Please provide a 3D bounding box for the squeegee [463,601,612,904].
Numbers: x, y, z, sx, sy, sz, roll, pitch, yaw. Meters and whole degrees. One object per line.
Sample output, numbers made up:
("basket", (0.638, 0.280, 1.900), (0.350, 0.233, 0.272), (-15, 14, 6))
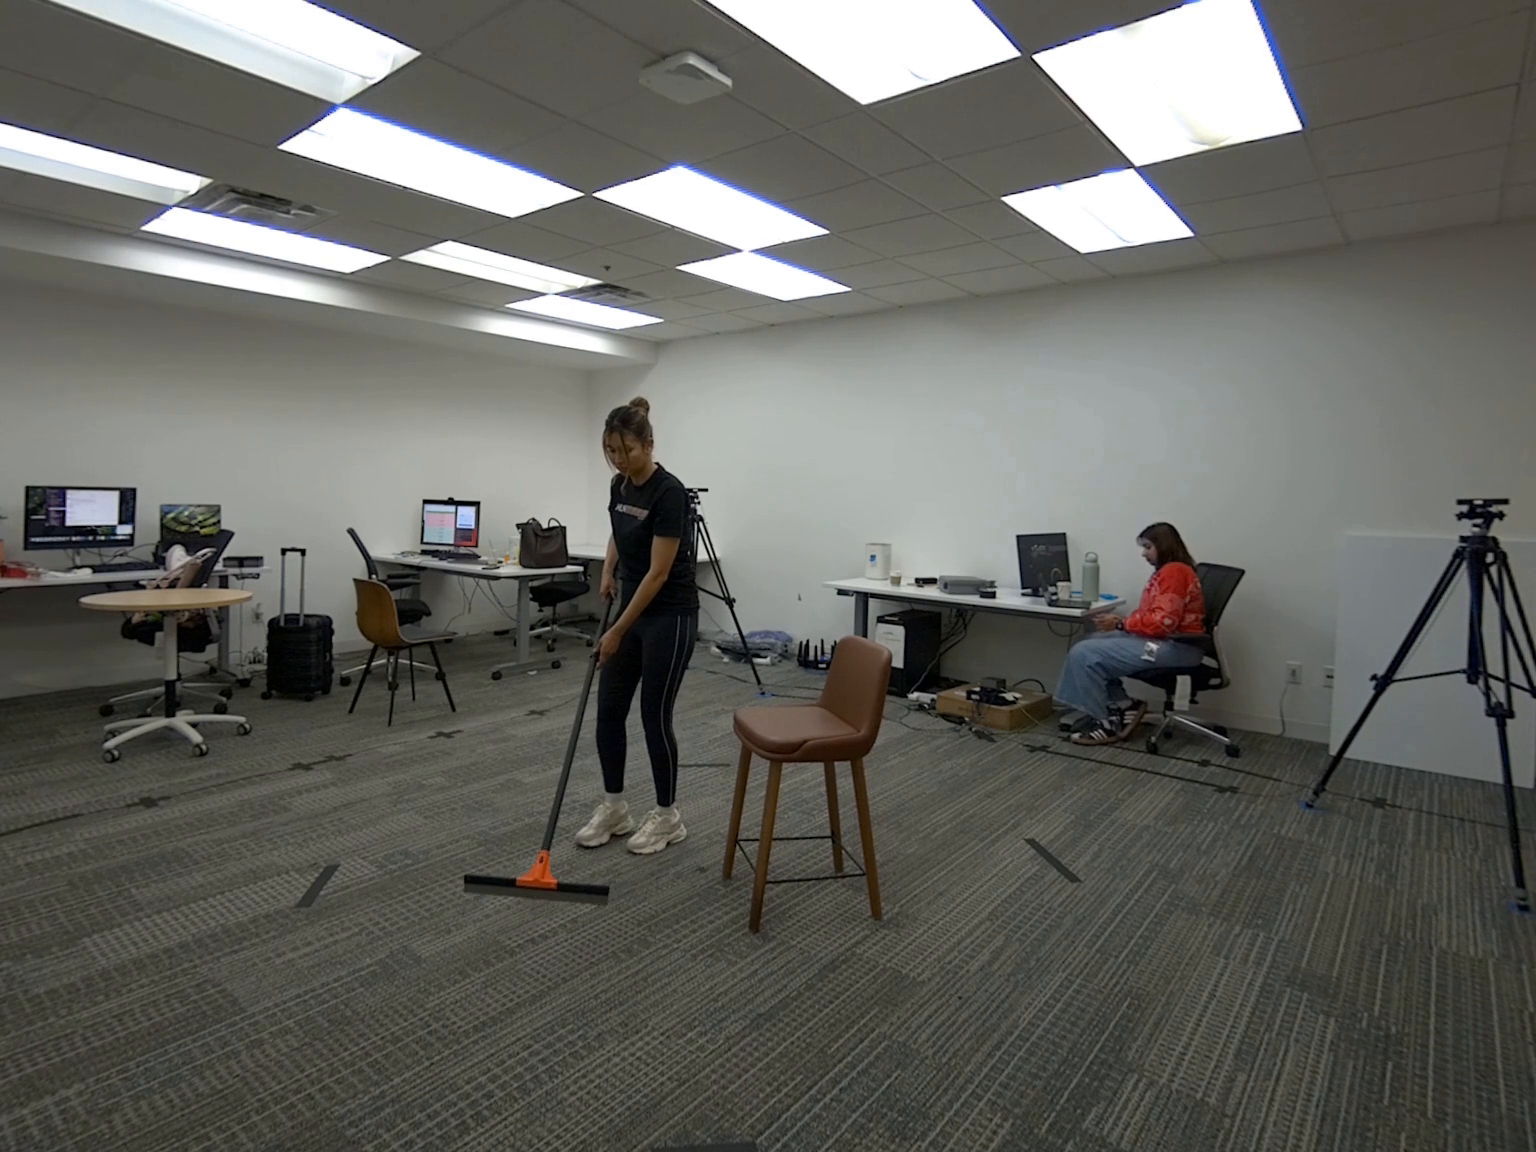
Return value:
("squeegee", (-0.669, 0.396, 3.035), (0.439, 0.051, 1.578), (1, 43, 2))
